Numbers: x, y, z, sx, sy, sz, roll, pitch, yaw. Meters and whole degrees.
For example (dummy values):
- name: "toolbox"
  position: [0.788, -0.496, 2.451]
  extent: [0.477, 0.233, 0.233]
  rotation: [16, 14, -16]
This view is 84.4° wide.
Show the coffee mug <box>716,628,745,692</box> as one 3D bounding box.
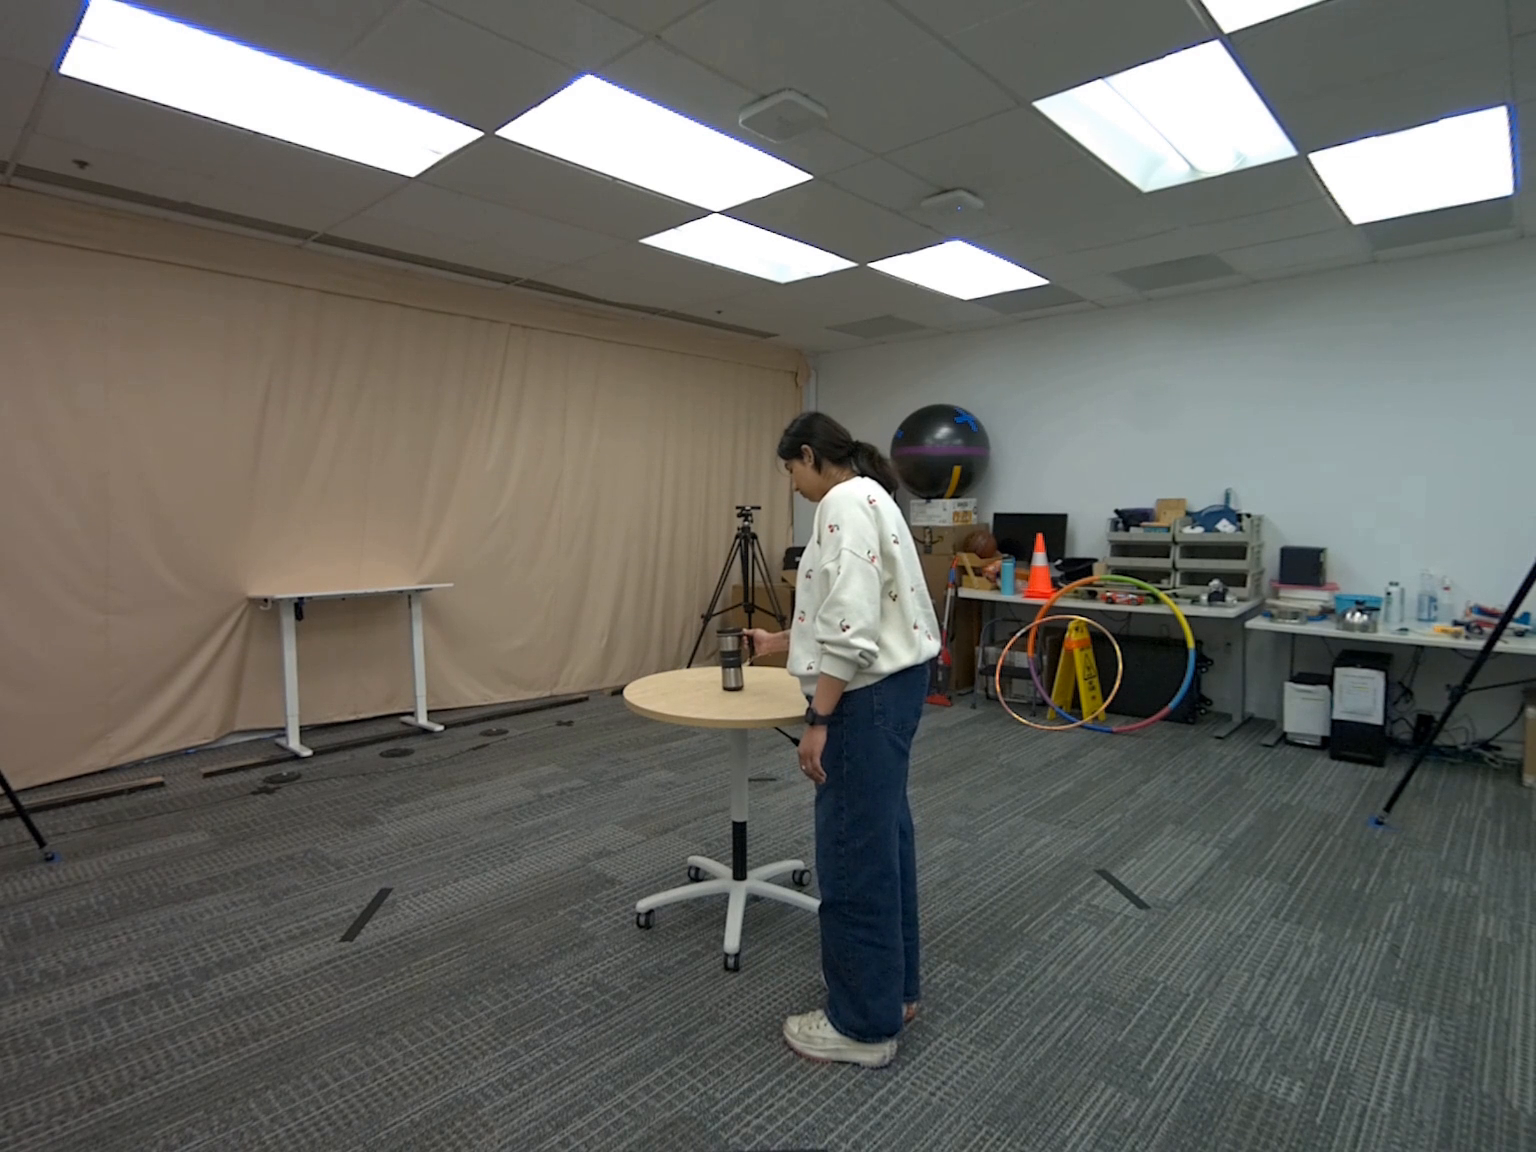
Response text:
- name: "coffee mug"
  position: [-0.105, 0.276, 2.775]
  extent: [0.085, 0.203, 0.125]
  rotation: [-2, -3, -44]
